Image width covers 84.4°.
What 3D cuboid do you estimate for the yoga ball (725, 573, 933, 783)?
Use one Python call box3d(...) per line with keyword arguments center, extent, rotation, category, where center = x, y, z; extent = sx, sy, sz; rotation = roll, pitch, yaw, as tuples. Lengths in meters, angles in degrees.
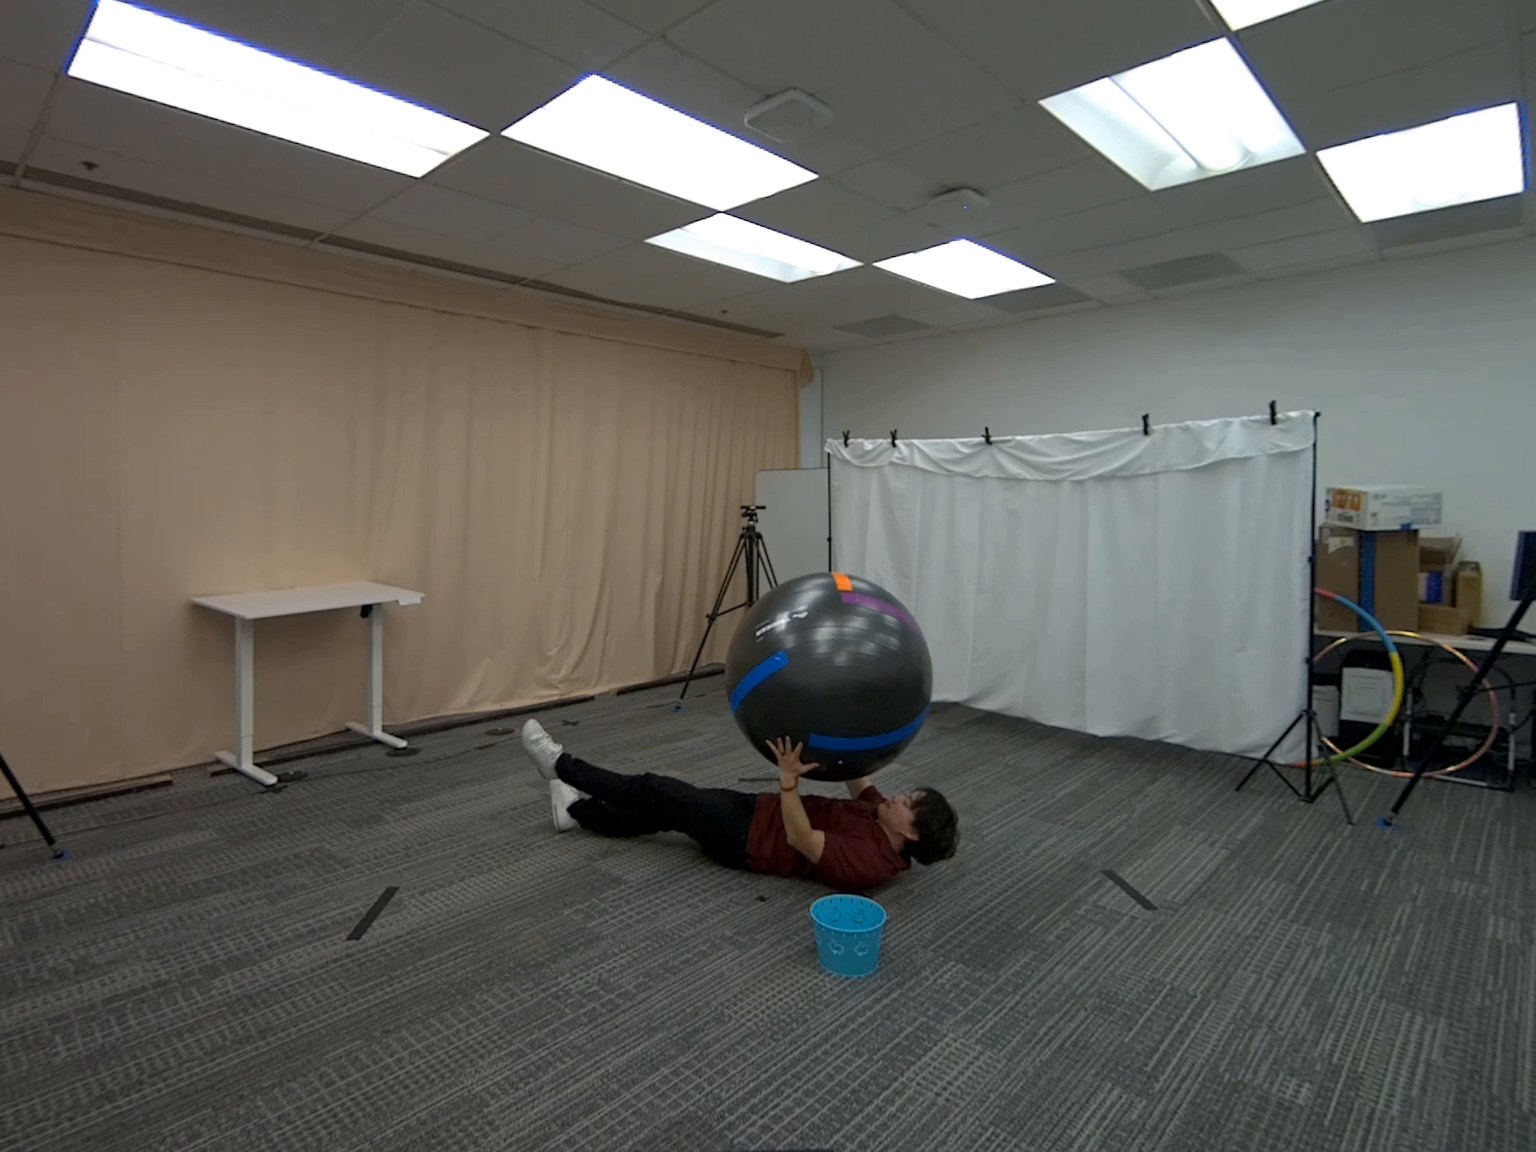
box3d(center=(0.212, 0.374, 3.116), extent=(0.757, 0.756, 0.760), rotation=(0, 4, -2), category="yoga ball")
